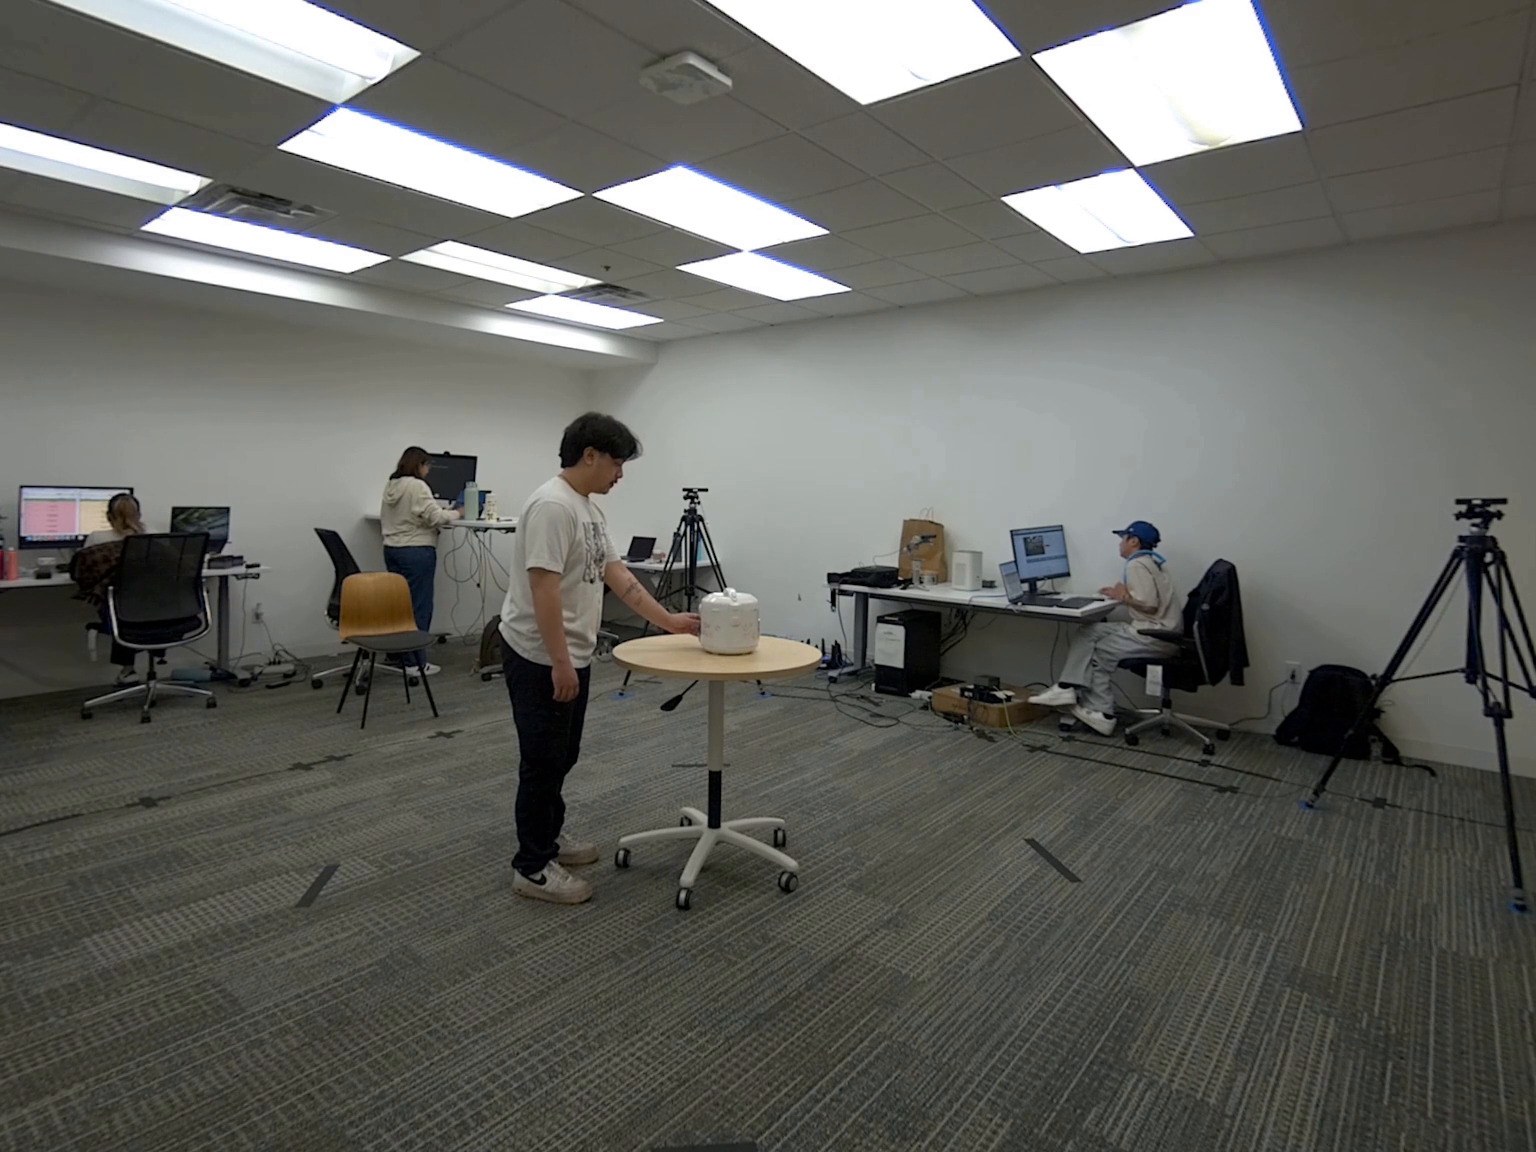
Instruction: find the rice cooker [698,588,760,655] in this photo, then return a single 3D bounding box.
[{"bbox_3d":[-0.144,0.156,3.110,0.215,0.232,0.224,1,3,-12],"label":"rice cooker"}]
